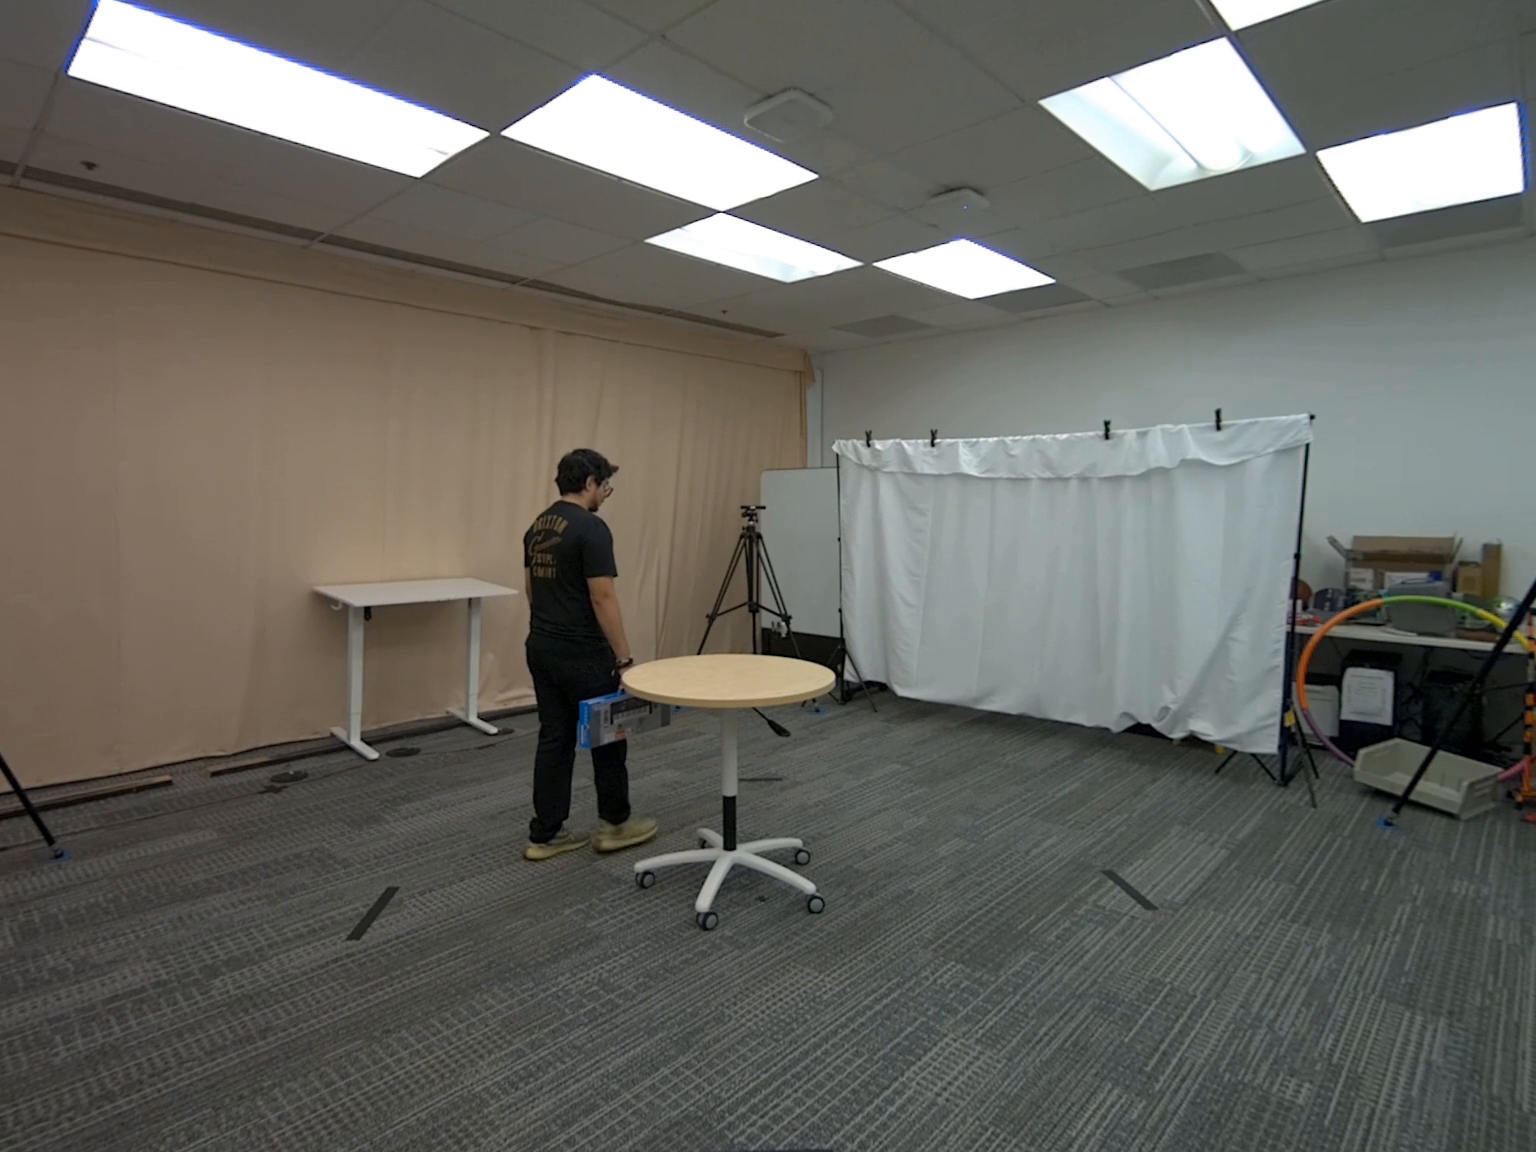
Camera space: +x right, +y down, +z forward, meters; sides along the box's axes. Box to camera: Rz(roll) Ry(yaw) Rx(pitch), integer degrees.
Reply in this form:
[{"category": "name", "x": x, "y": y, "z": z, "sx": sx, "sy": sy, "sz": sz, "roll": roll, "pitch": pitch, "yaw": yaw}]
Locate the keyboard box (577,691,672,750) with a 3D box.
[{"category": "keyboard box", "x": -0.549, "y": 0.542, "z": 3.297, "sx": 0.061, "sy": 0.175, "sz": 0.424, "roll": 6, "pitch": 7, "yaw": 39}]
